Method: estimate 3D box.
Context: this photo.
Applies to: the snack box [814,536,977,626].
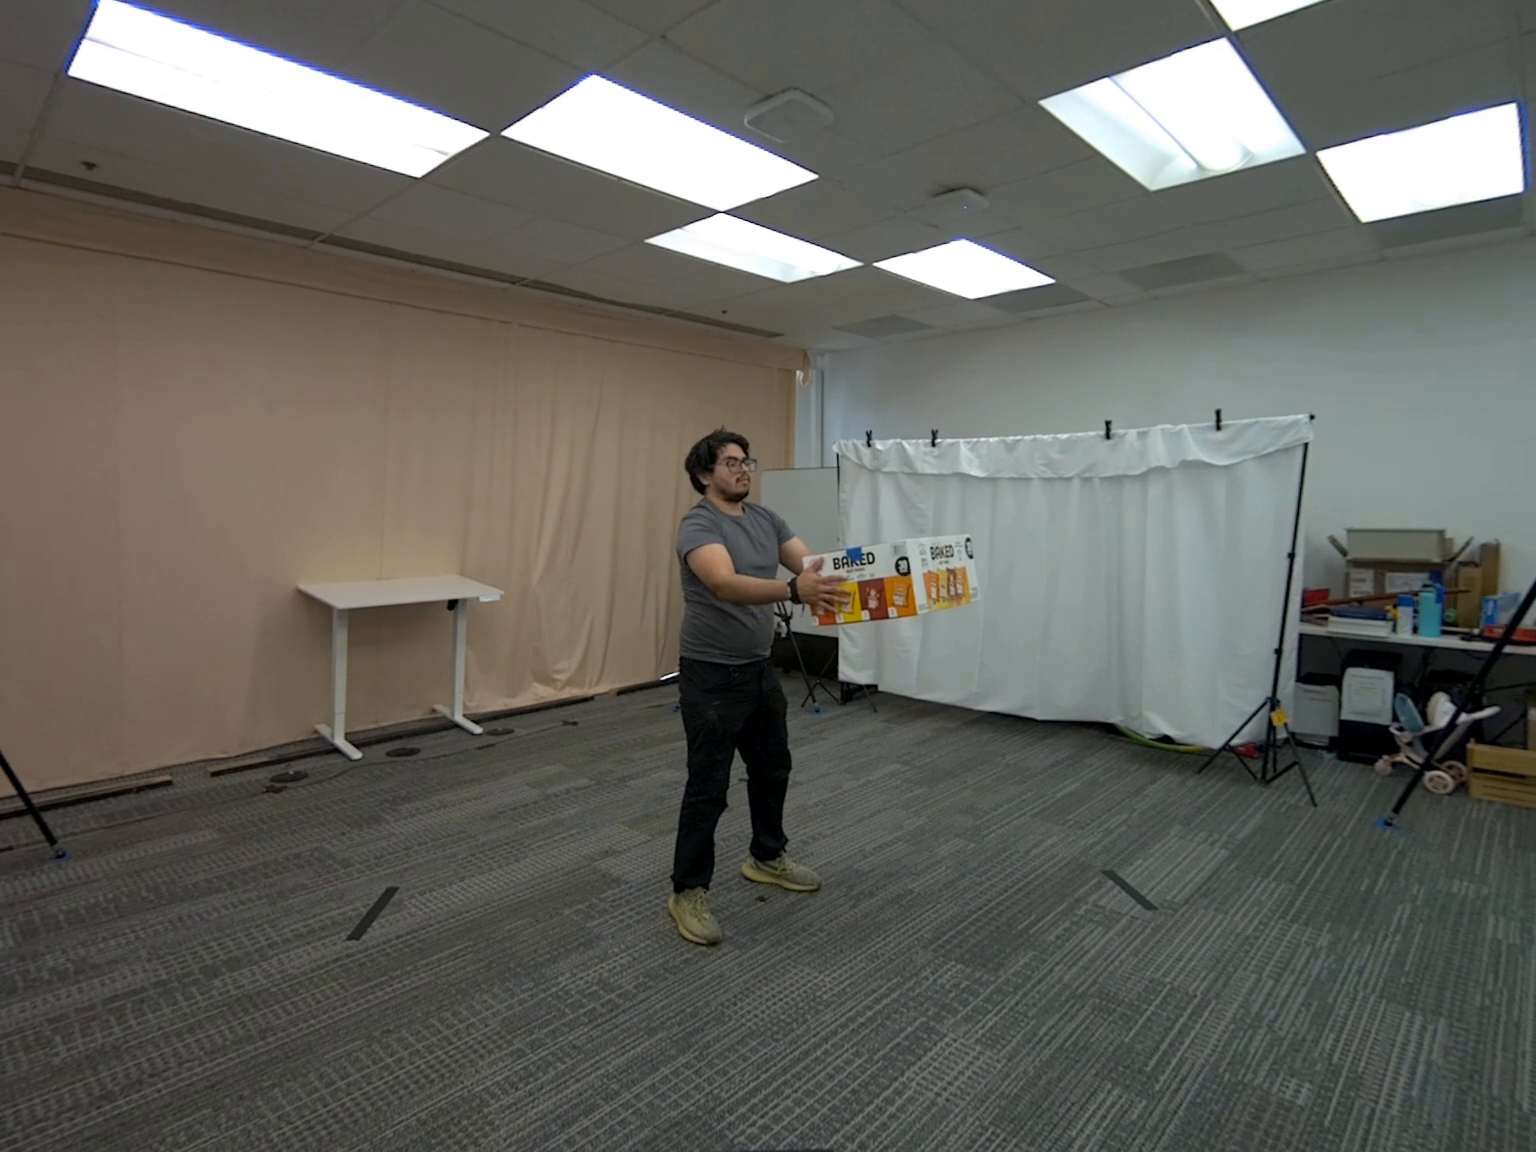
[{"bbox_3d":[0.370,0.011,2.460,0.350,0.206,0.393,-9,-2,38],"label":"snack box"}]
